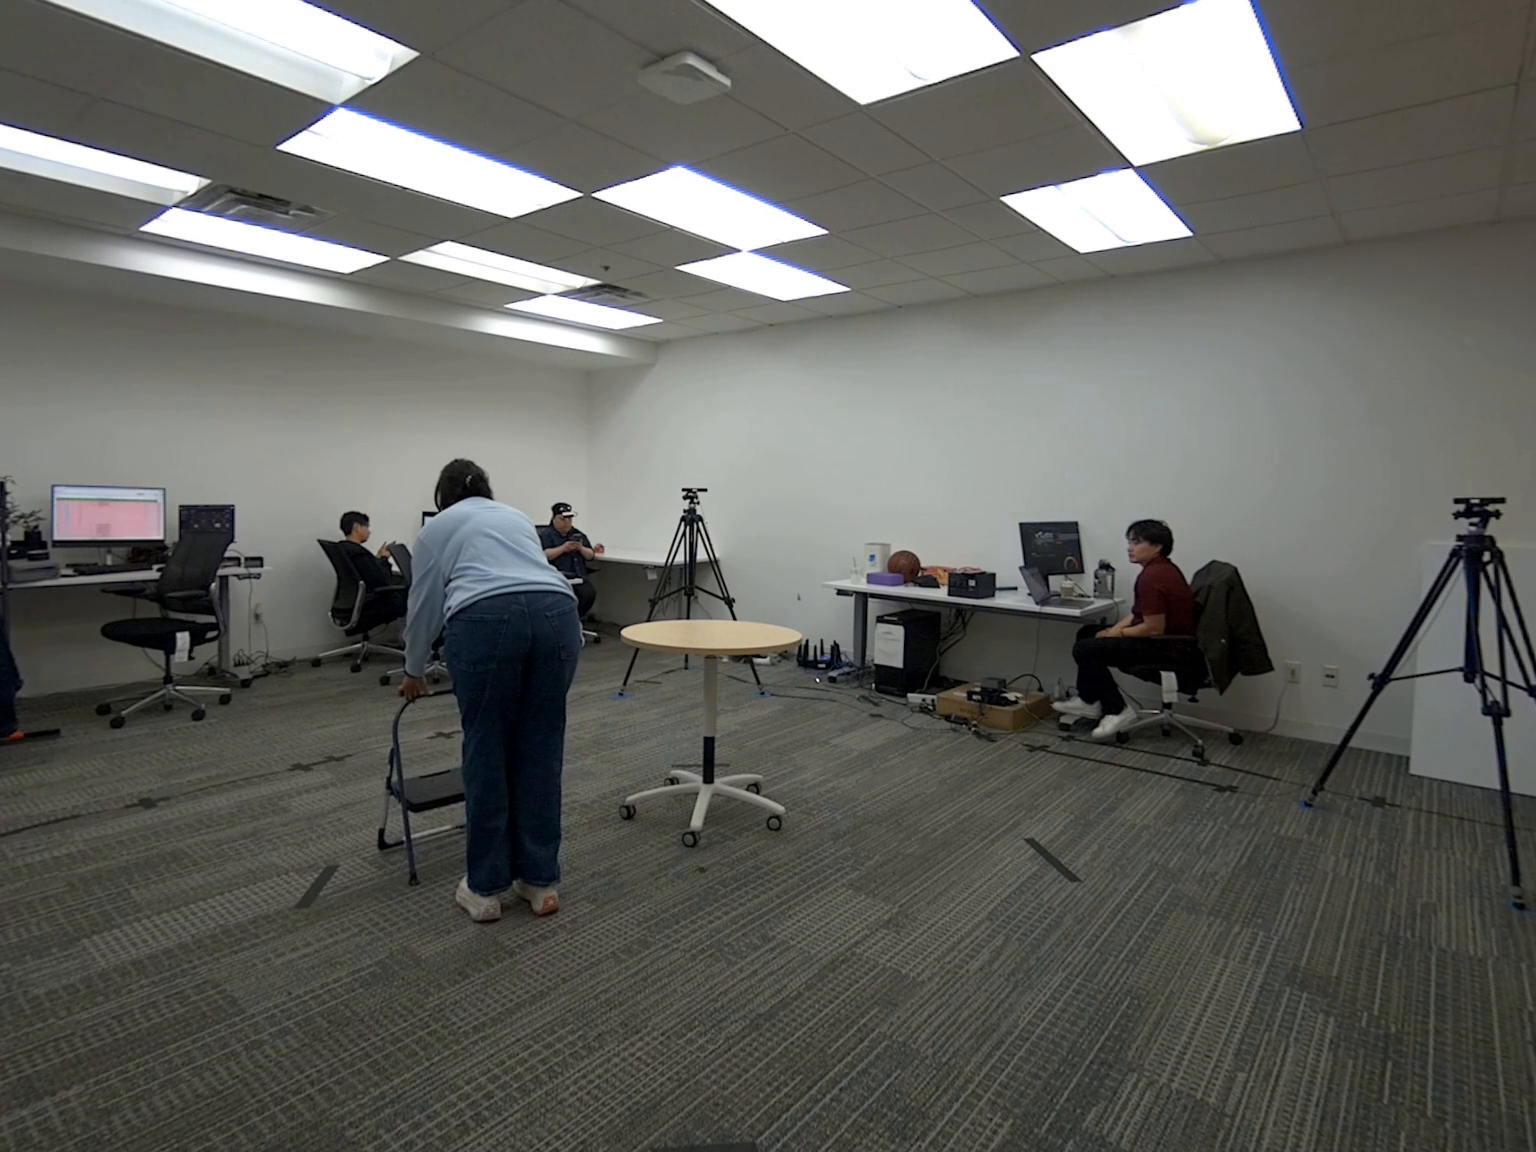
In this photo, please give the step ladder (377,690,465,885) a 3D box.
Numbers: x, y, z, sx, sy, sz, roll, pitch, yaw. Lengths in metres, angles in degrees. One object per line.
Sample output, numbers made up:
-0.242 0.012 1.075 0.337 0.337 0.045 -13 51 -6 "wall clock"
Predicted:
-1.210 0.739 3.190 0.418 0.603 0.362 -3 8 -44 "step ladder"
